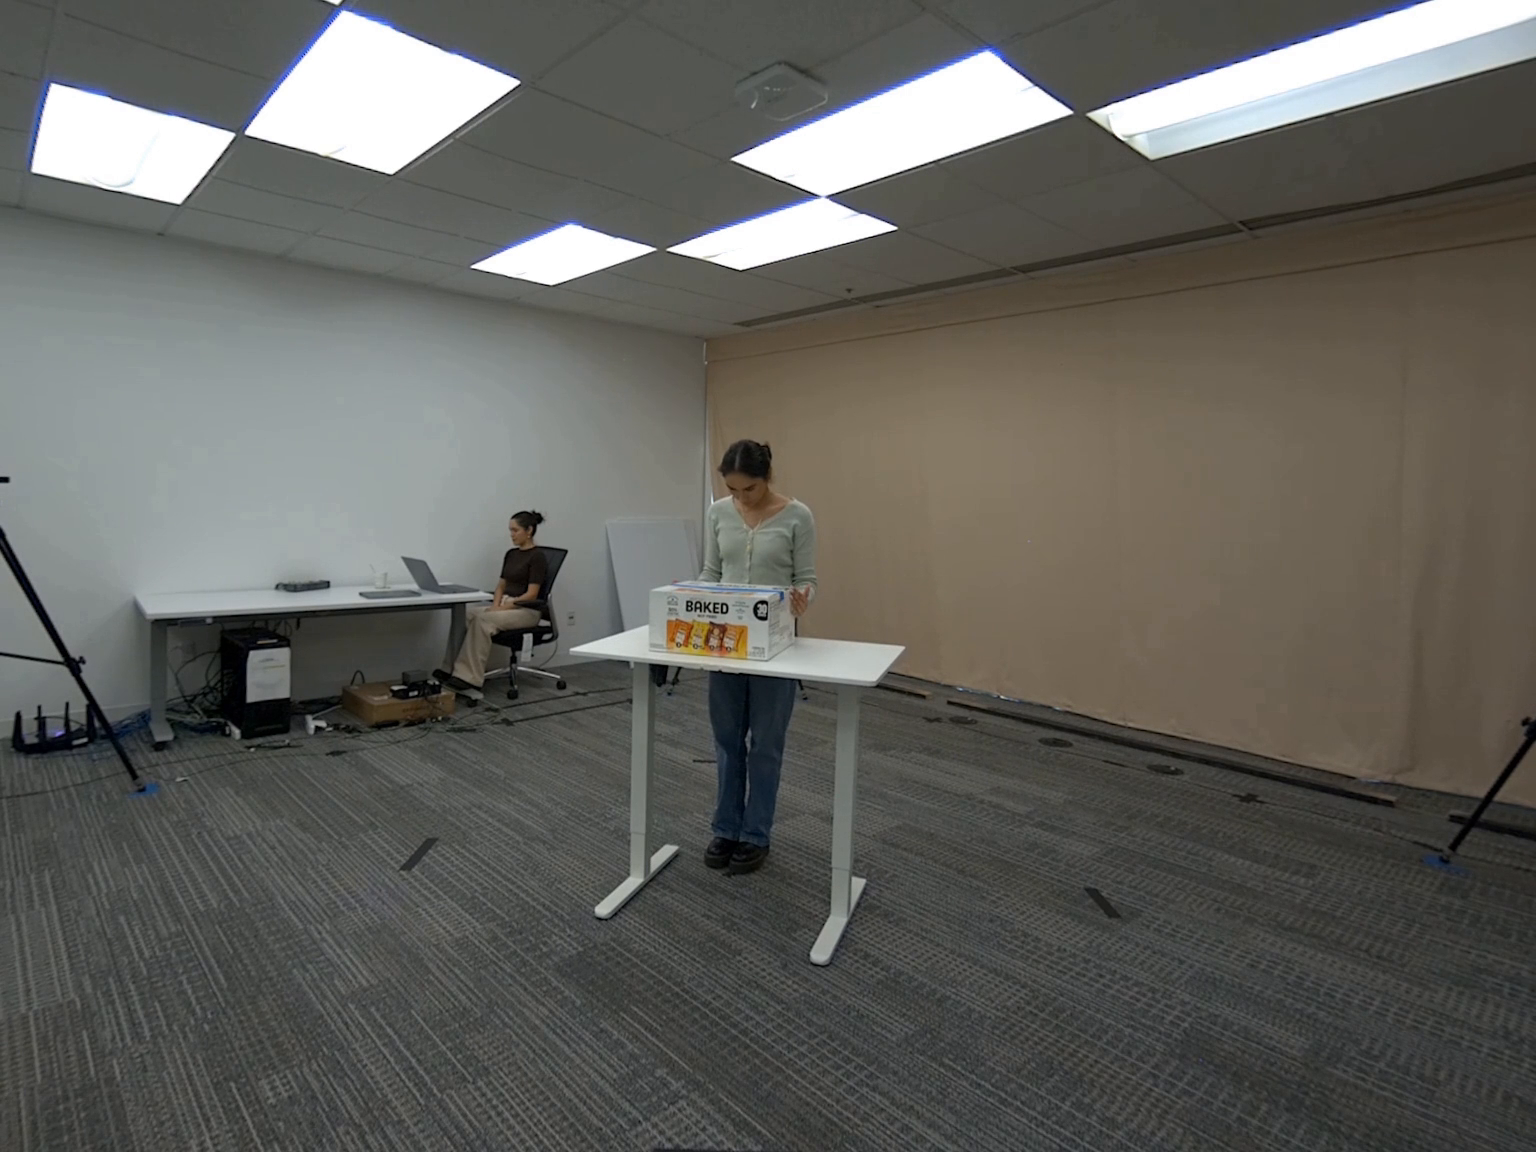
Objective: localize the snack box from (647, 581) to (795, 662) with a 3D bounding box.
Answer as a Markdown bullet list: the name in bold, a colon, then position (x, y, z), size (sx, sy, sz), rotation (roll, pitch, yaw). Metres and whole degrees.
- **snack box**: position (-0.158, 0.142, 2.843), size (0.411, 0.205, 0.336), rotation (3, 6, 18)
